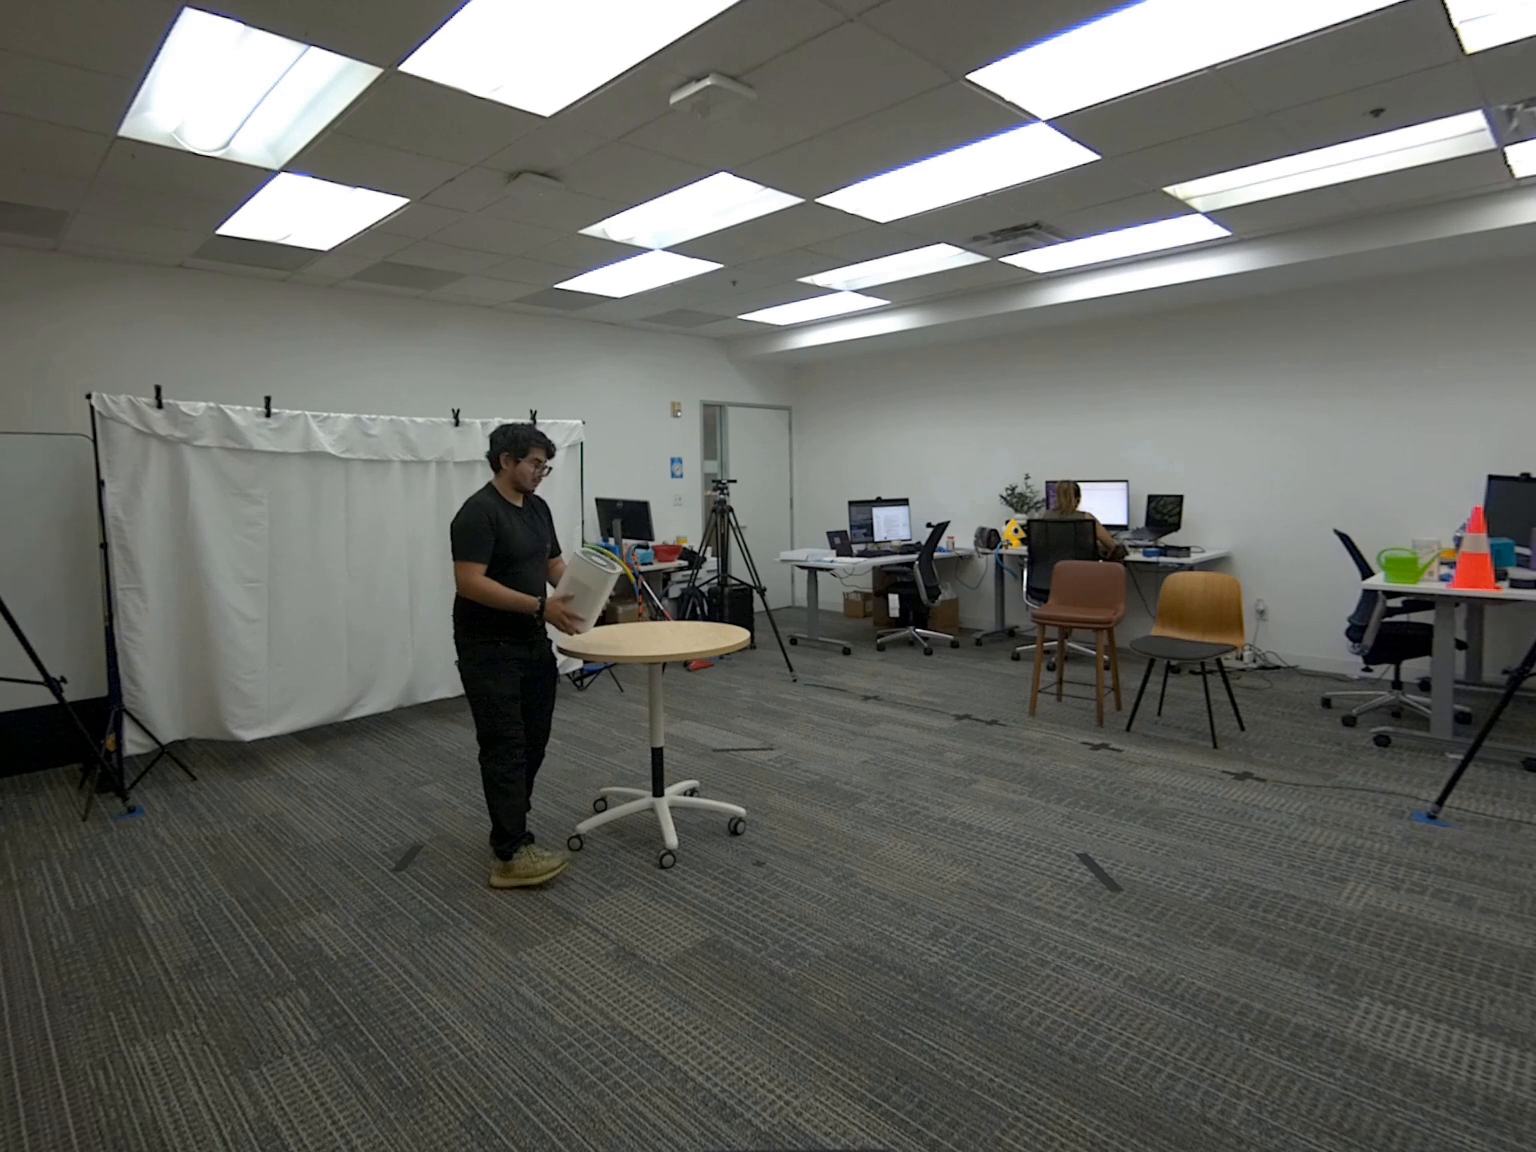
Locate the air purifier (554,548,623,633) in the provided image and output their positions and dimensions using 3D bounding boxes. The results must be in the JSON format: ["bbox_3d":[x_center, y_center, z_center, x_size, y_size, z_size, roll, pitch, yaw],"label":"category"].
[{"bbox_3d":[-0.663,0.052,3.054,0.175,0.261,0.167,29,11,5],"label":"air purifier"}]
